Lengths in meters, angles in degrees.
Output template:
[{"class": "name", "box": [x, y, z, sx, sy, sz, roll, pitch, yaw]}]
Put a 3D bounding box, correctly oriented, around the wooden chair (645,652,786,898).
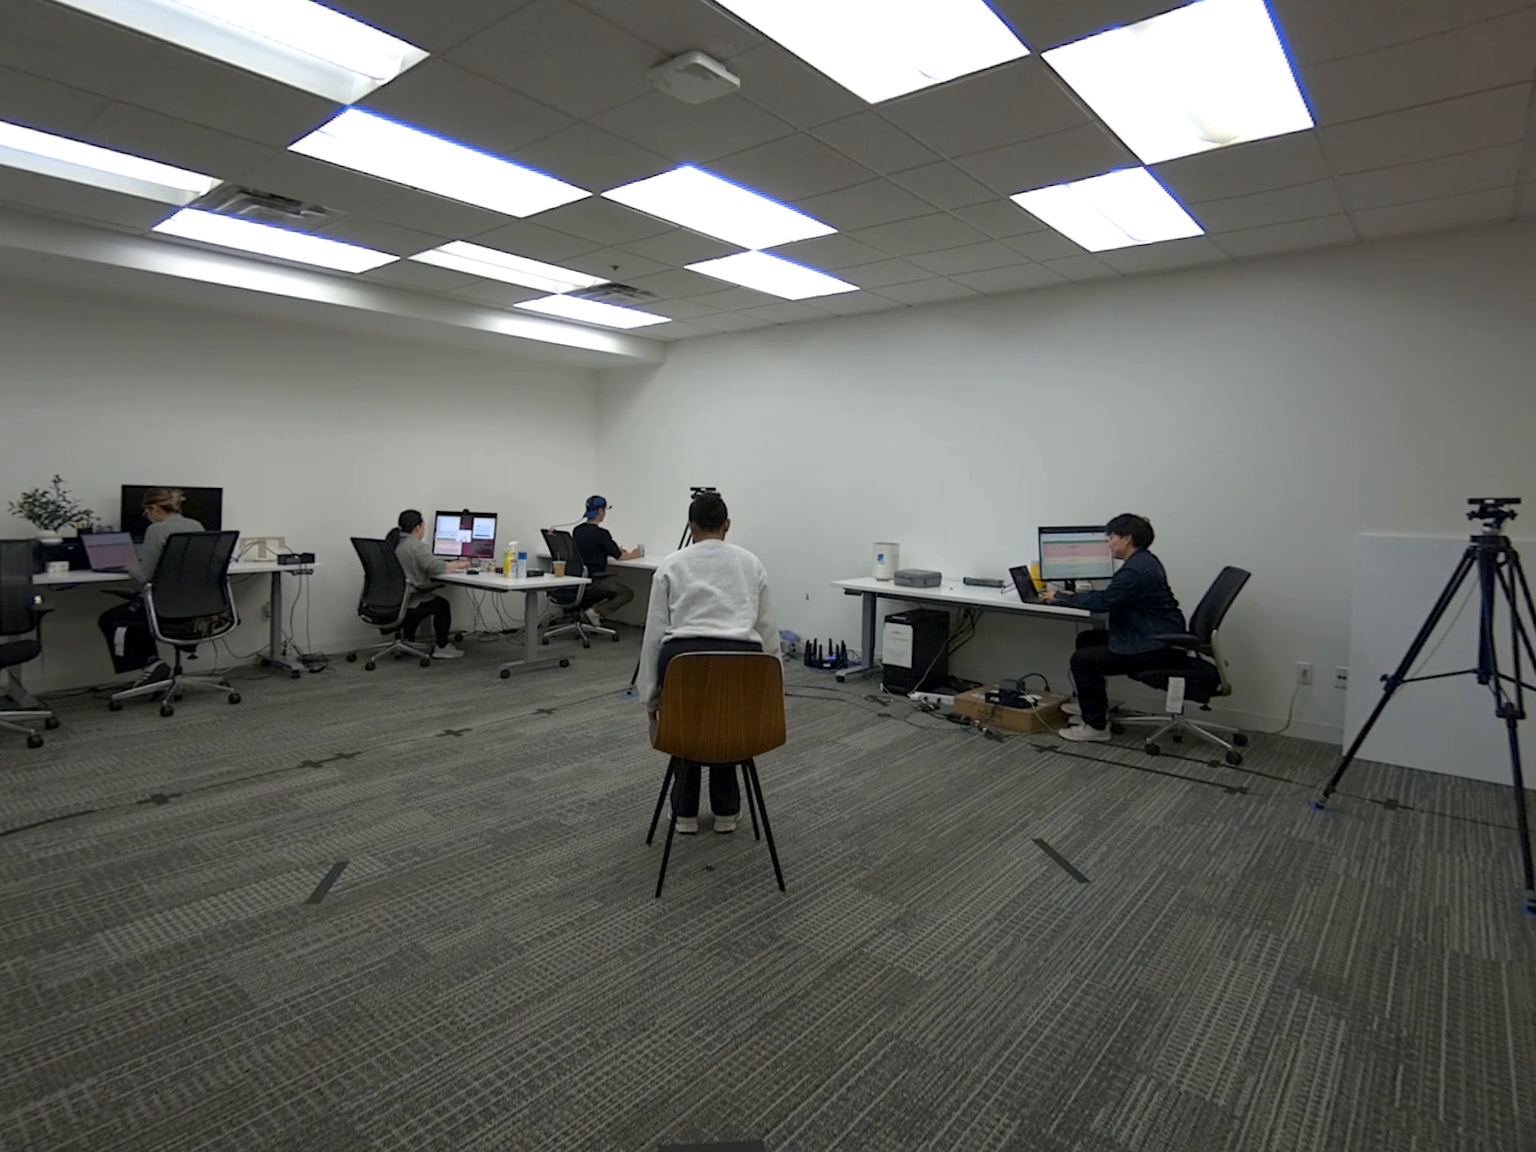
[{"class": "wooden chair", "box": [-0.208, 0.635, 3.108, 0.473, 0.872, 0.533, 0, 7, -12]}]
